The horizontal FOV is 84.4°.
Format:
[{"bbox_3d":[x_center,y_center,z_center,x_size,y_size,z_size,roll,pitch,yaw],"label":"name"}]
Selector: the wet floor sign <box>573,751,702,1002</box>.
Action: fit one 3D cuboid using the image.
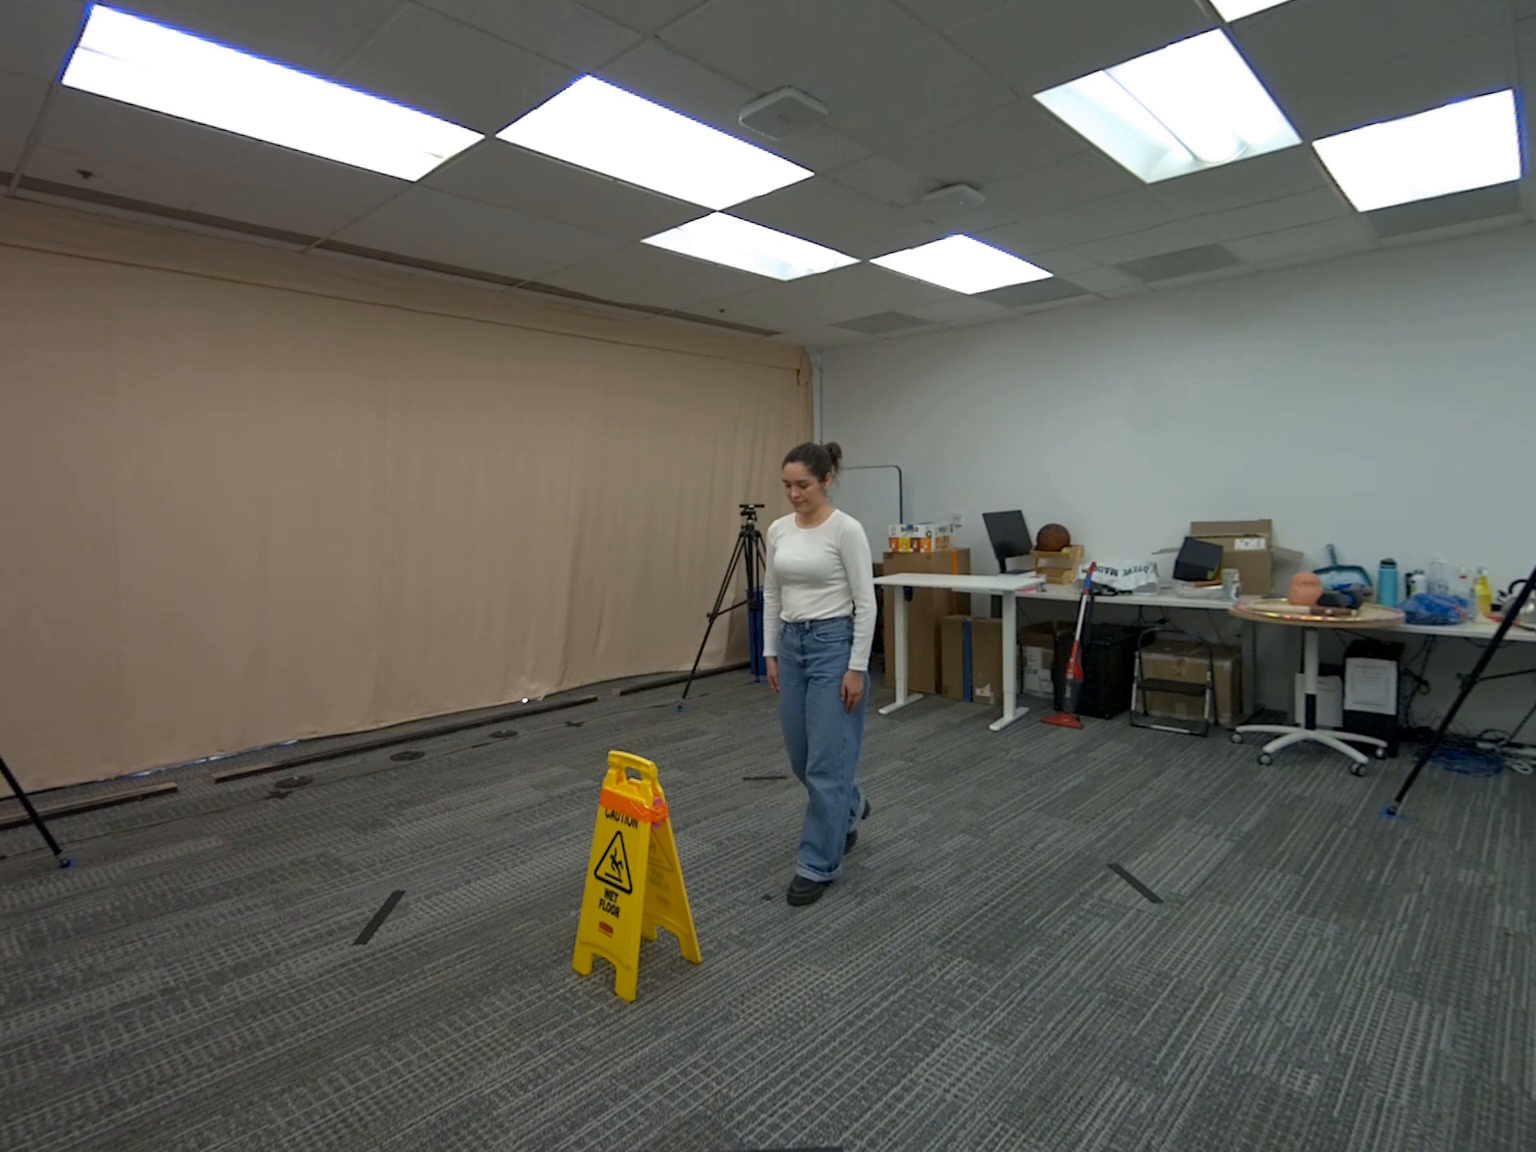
[{"bbox_3d":[-0.403,0.863,2.536,0.291,0.645,0.281,1,4,42],"label":"wet floor sign"}]
